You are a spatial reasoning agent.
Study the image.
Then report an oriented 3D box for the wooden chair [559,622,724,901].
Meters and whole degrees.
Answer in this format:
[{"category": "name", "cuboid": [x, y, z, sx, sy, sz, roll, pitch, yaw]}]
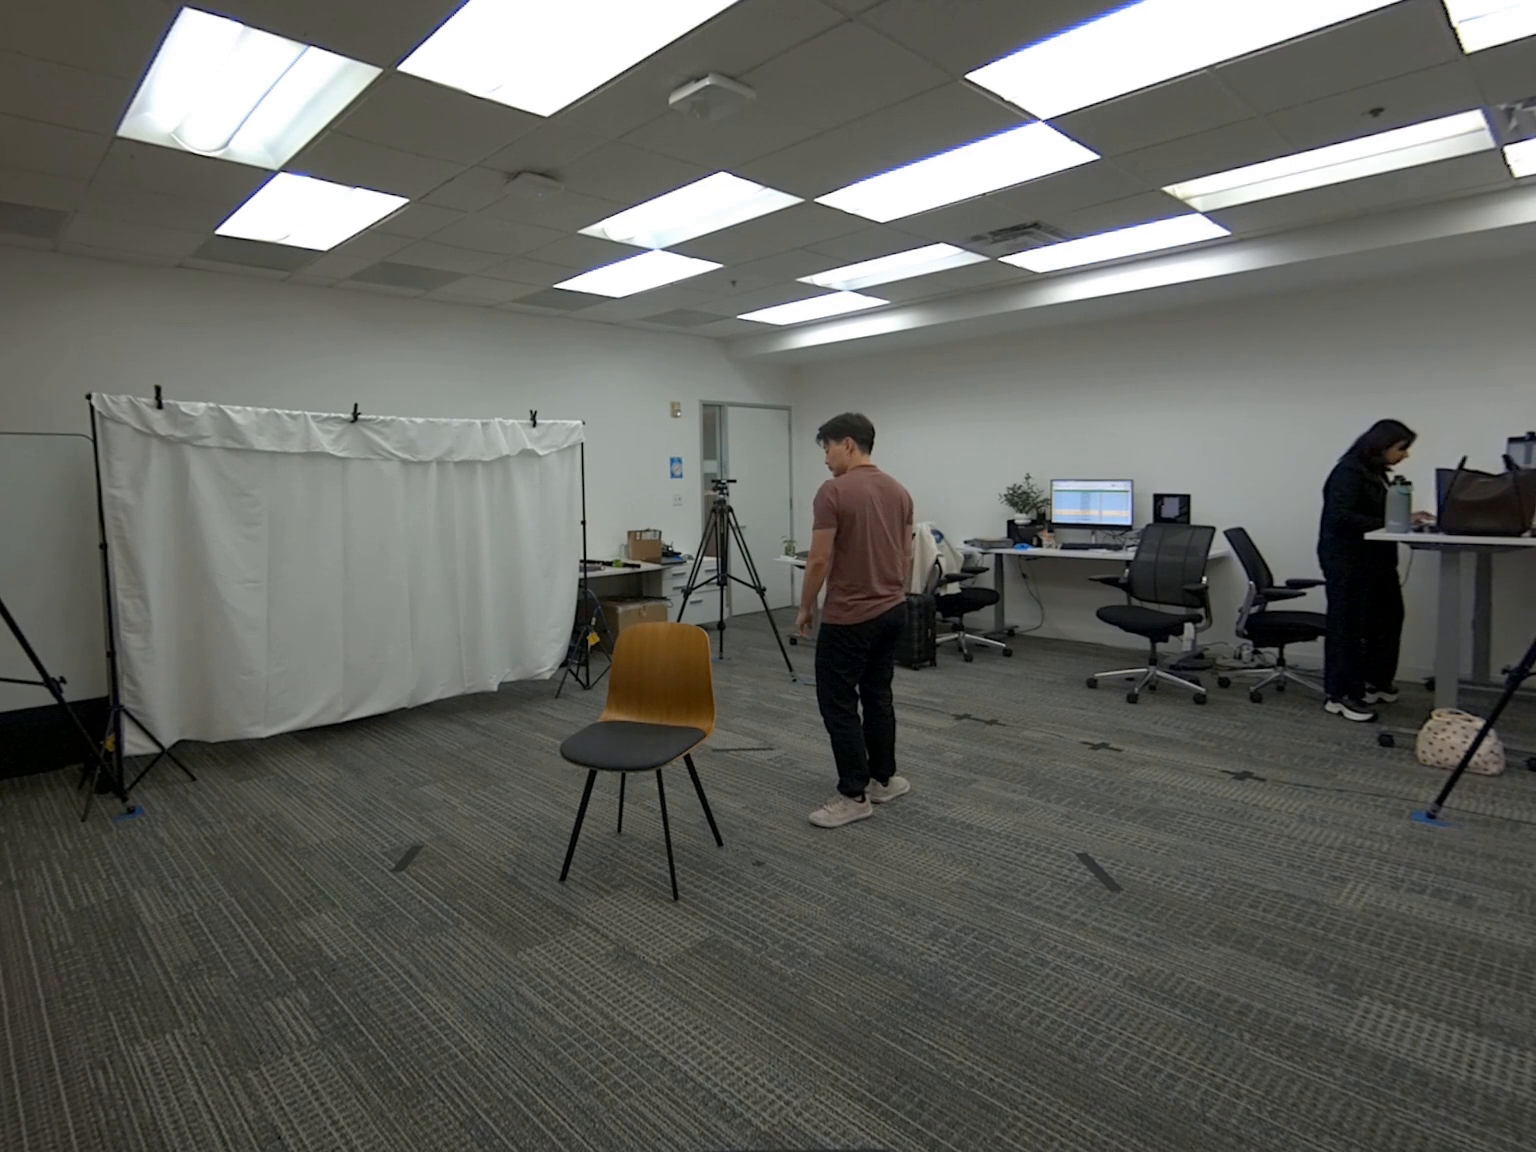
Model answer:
[{"category": "wooden chair", "cuboid": [-0.456, 0.629, 3.089, 0.487, 0.877, 0.513, 1, 1, 19]}]
